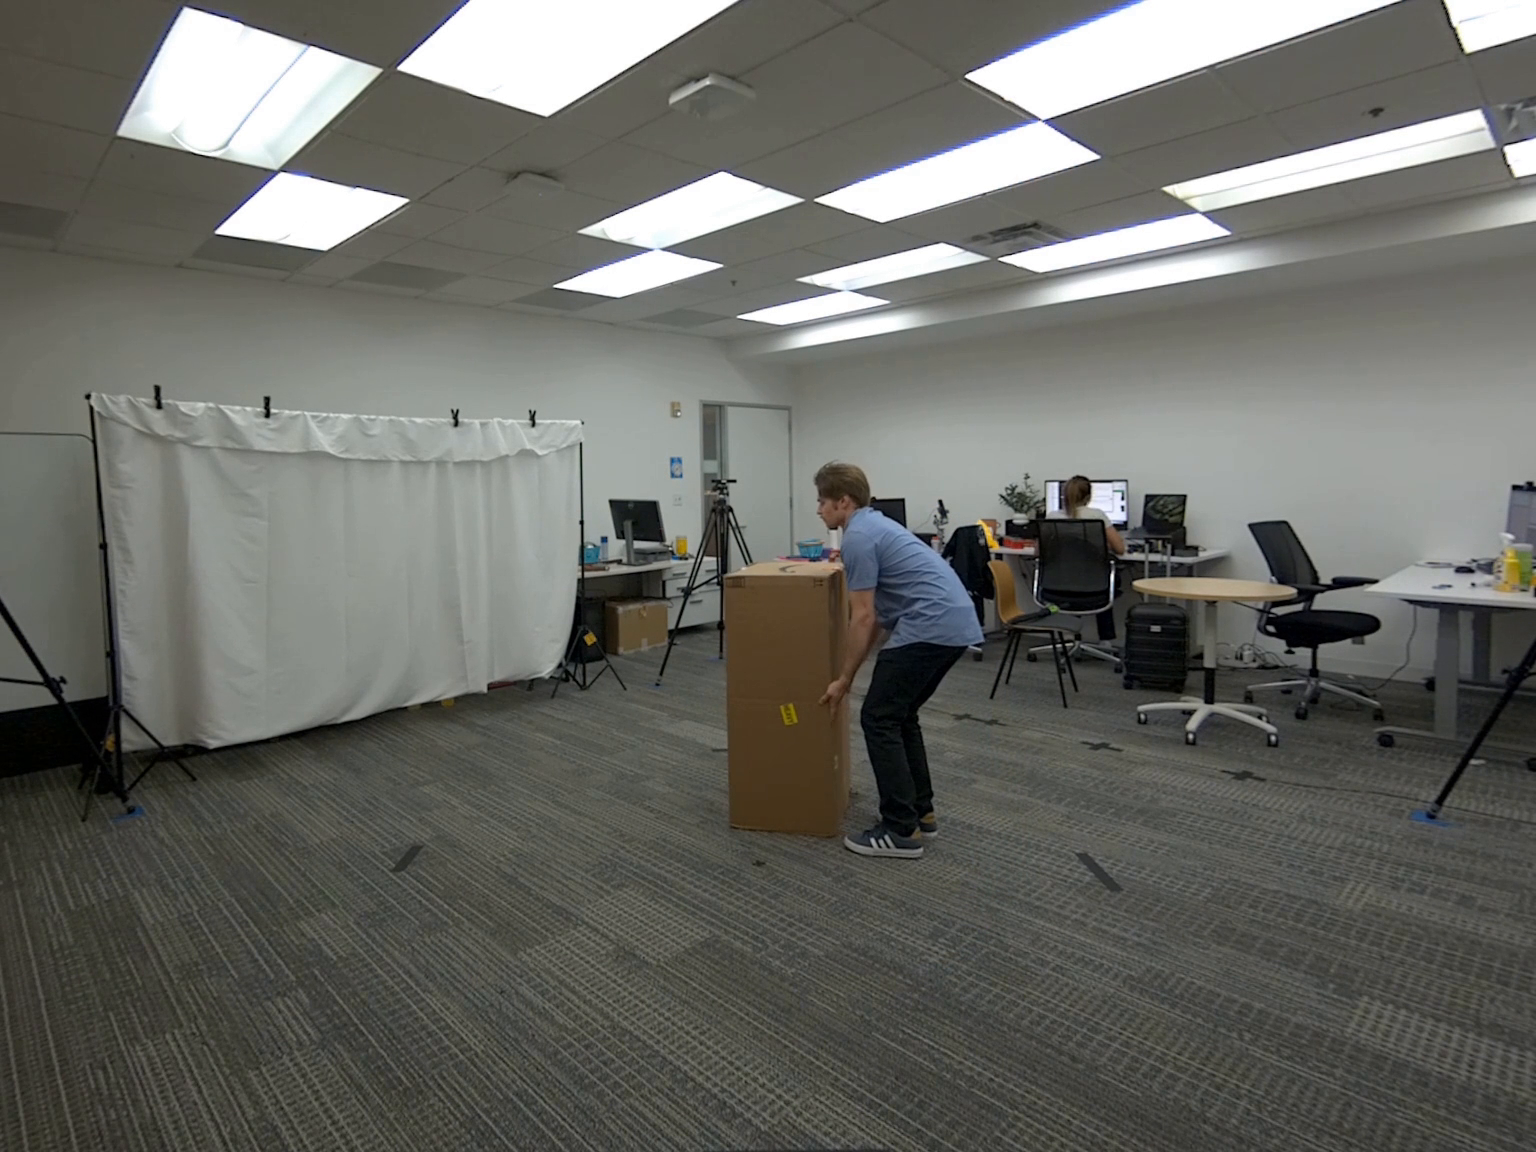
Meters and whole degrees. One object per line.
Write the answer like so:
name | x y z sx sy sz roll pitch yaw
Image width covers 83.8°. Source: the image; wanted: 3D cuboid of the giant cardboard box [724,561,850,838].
giant cardboard box | 0.099 0.478 3.633 0.433 1.023 0.570 -1 3 16
